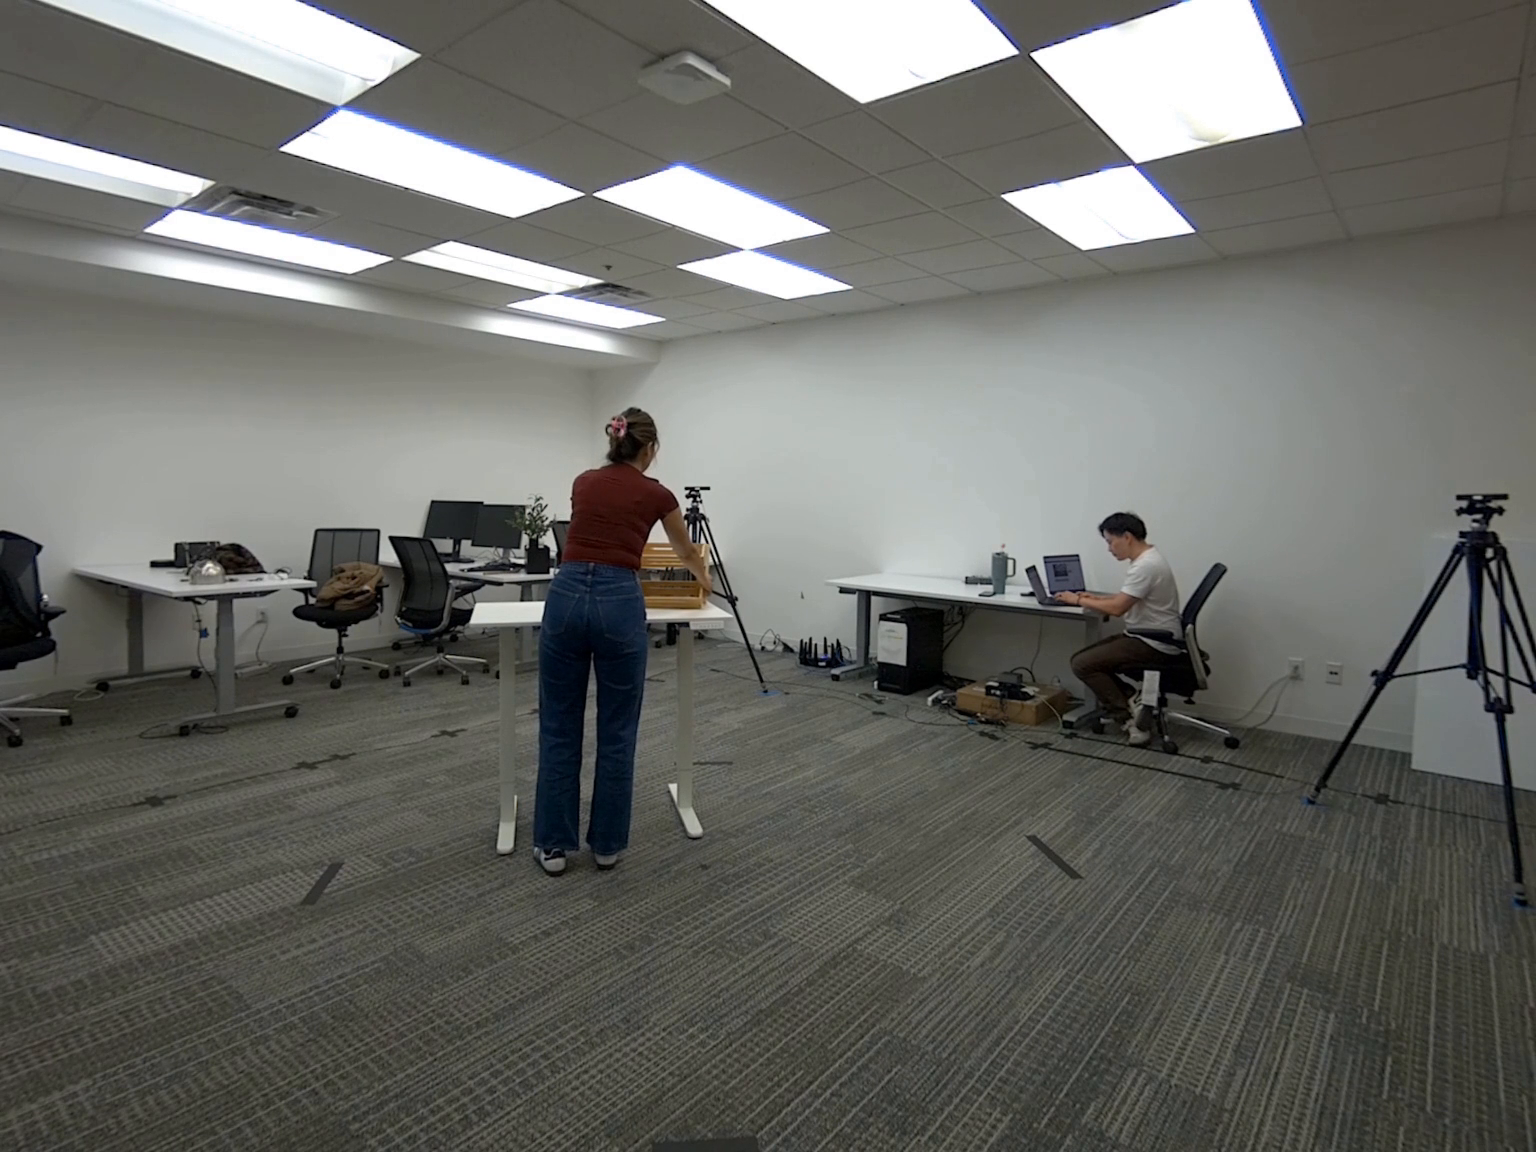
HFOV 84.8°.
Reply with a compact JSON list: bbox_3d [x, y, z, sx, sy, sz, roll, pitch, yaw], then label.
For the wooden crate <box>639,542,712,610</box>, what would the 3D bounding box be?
[{"bbox_3d":[-0.440,-0.008,3.689,0.326,0.272,0.302,1,4,3],"label":"wooden crate"}]
